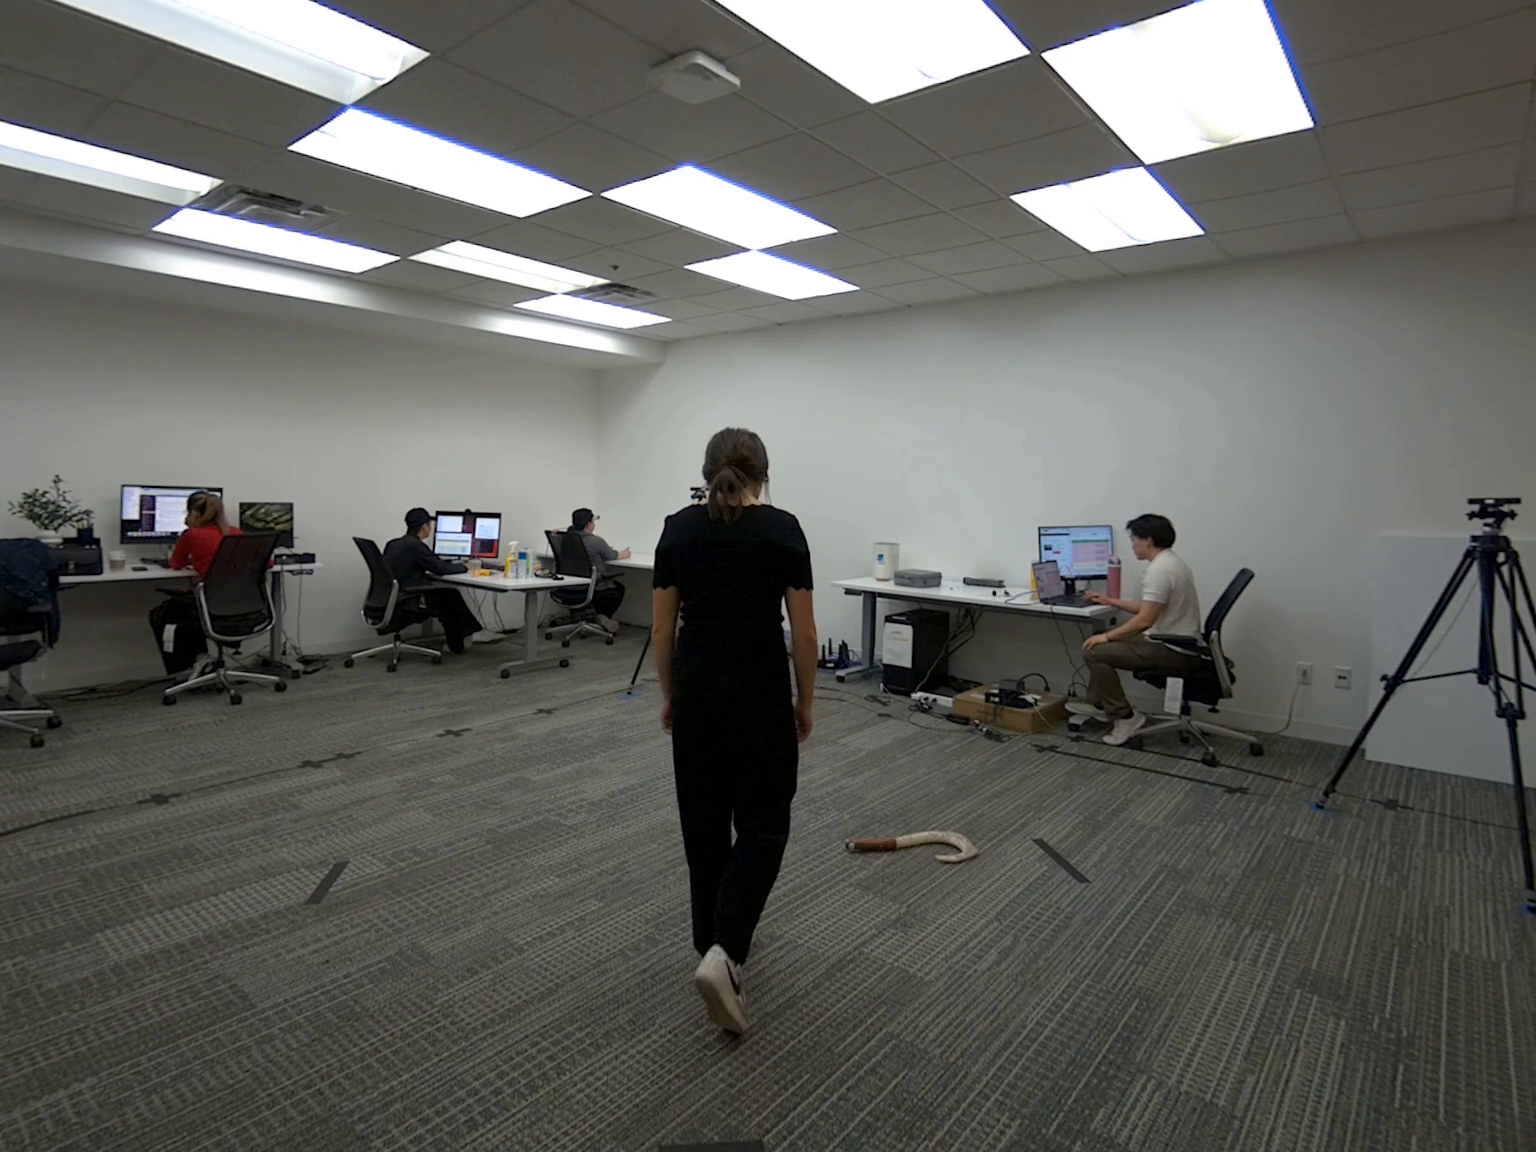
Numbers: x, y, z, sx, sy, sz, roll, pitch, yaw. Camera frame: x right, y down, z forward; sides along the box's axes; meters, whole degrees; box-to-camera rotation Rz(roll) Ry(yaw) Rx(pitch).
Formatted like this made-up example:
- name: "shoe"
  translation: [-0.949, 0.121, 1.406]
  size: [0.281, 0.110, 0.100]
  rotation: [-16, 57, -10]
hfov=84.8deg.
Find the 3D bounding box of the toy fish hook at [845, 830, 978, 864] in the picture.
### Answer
- name: "toy fish hook"
  translation: [0.549, 1.042, 3.281]
  size: [0.500, 0.048, 0.228]
  rotation: [0, 5, -12]
